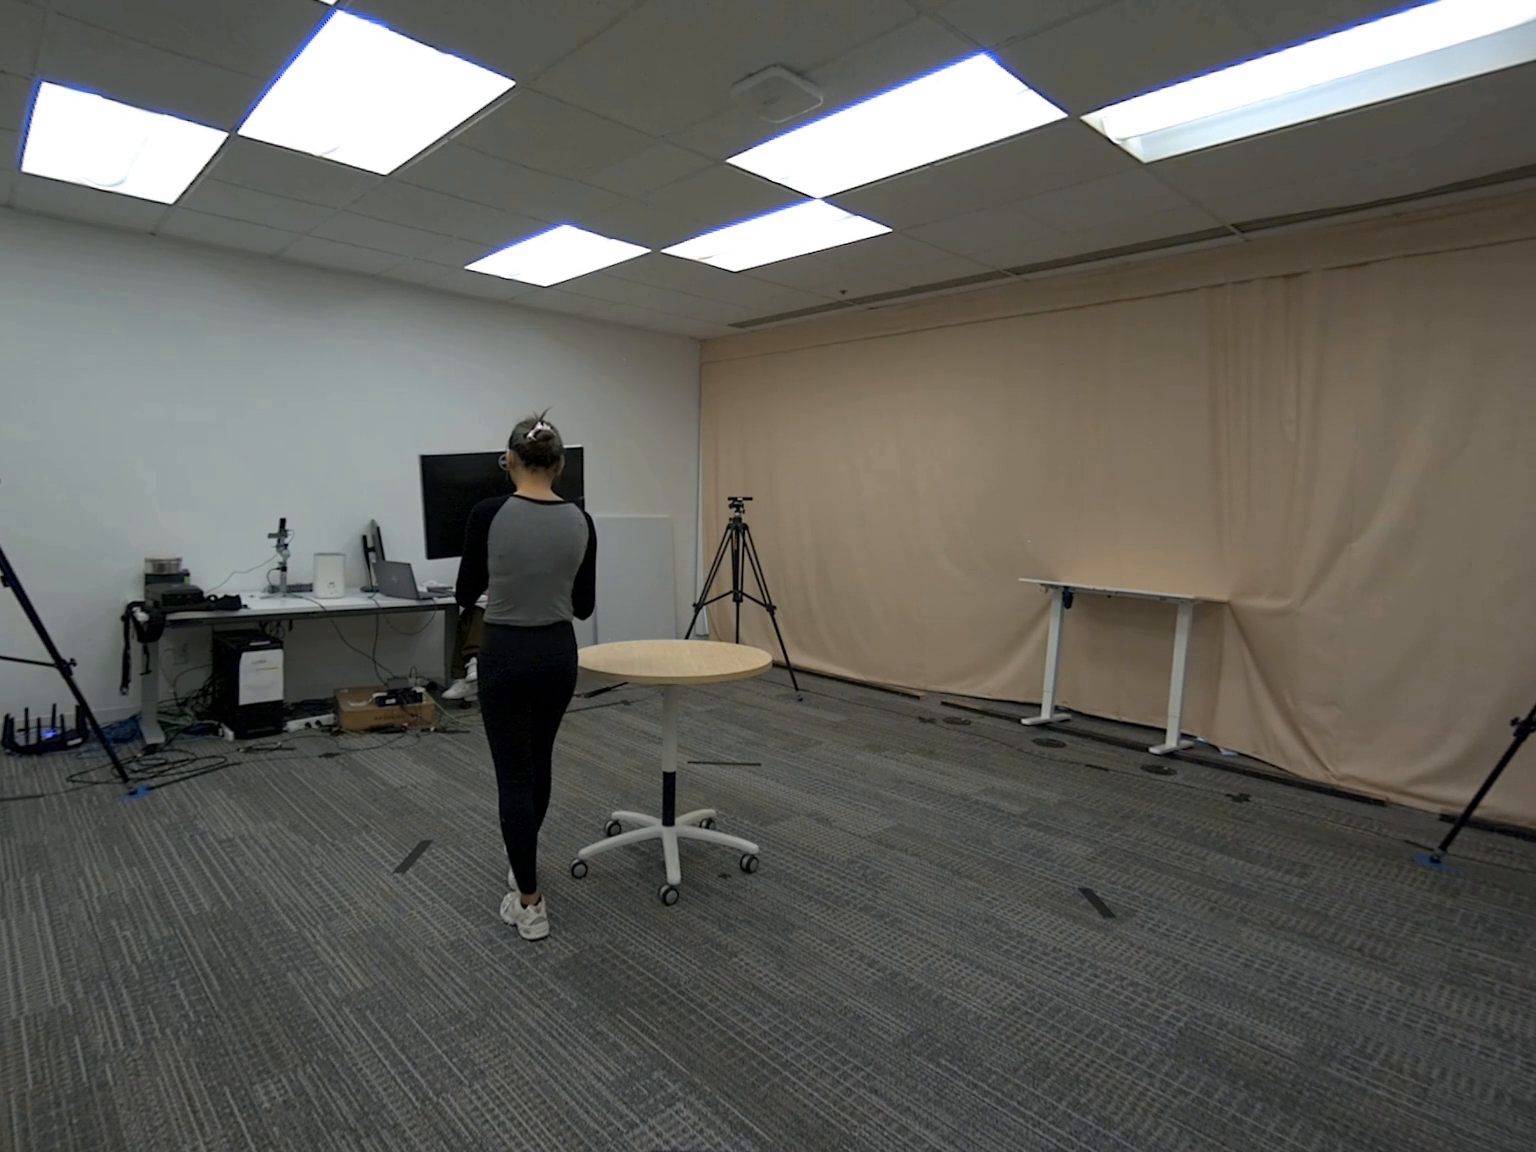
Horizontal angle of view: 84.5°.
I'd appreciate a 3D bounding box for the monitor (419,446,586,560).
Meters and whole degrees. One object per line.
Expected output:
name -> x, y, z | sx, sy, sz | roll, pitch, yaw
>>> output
monitor -> -0.892, -0.167, 2.899 | 0.529, 0.520, 0.191 | -6, 6, -30
